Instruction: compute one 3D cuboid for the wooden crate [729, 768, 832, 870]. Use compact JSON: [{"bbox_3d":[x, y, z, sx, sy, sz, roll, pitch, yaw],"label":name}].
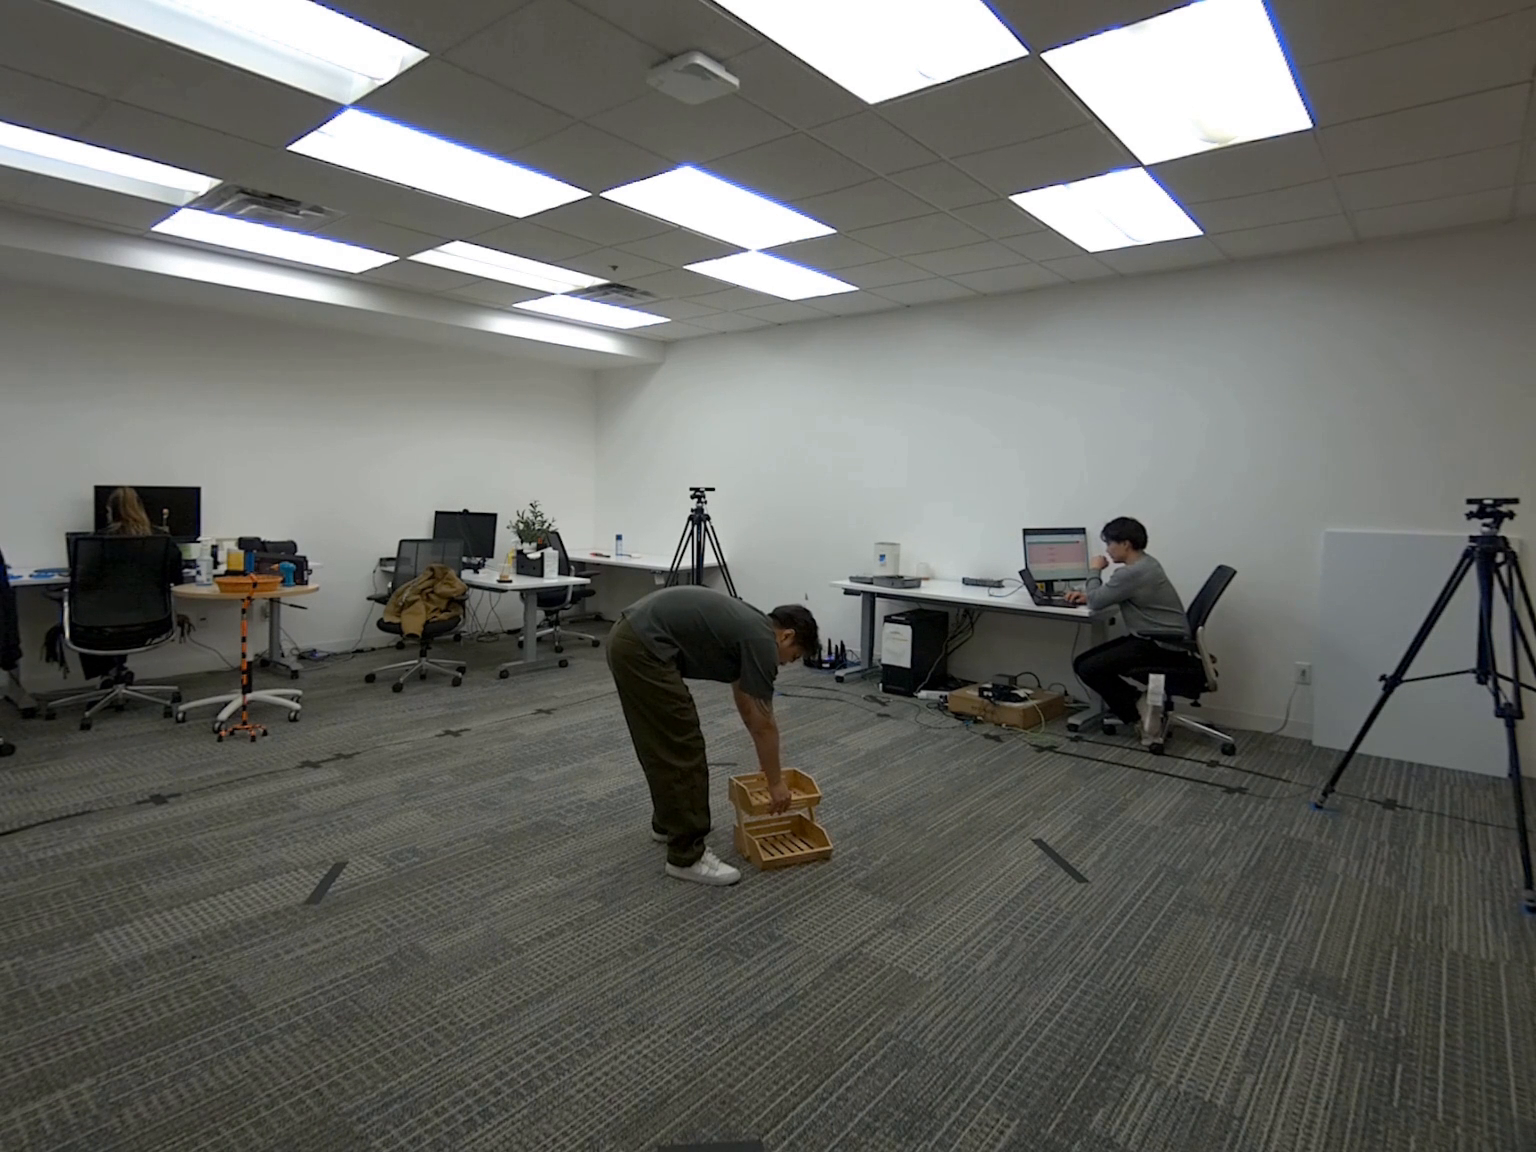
[{"bbox_3d":[0.045,0.923,3.270,0.316,0.272,0.310,-1,4,-27],"label":"wooden crate"}]
